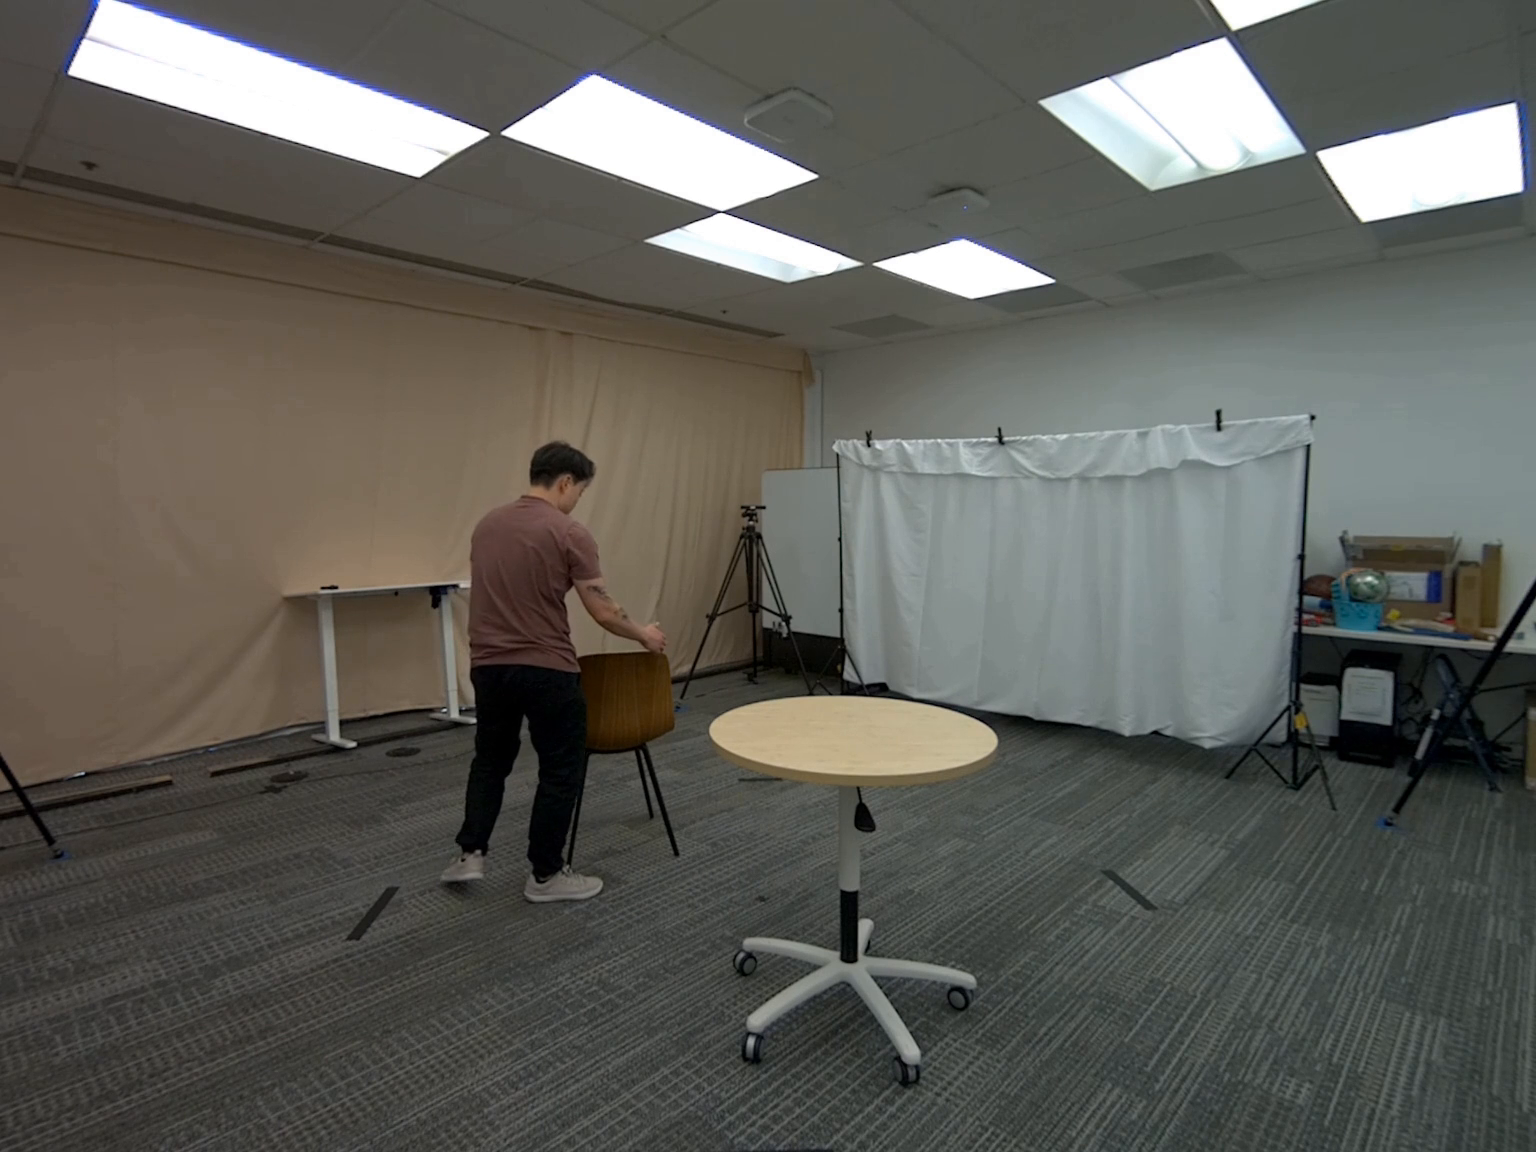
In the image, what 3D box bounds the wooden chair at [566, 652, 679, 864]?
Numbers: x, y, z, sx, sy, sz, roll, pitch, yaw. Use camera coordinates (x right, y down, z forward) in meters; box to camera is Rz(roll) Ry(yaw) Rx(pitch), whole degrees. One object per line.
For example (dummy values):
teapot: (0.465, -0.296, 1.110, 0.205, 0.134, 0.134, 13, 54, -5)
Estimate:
wooden chair: (-0.648, 0.681, 3.480, 0.469, 0.874, 0.535, -2, 7, -20)
